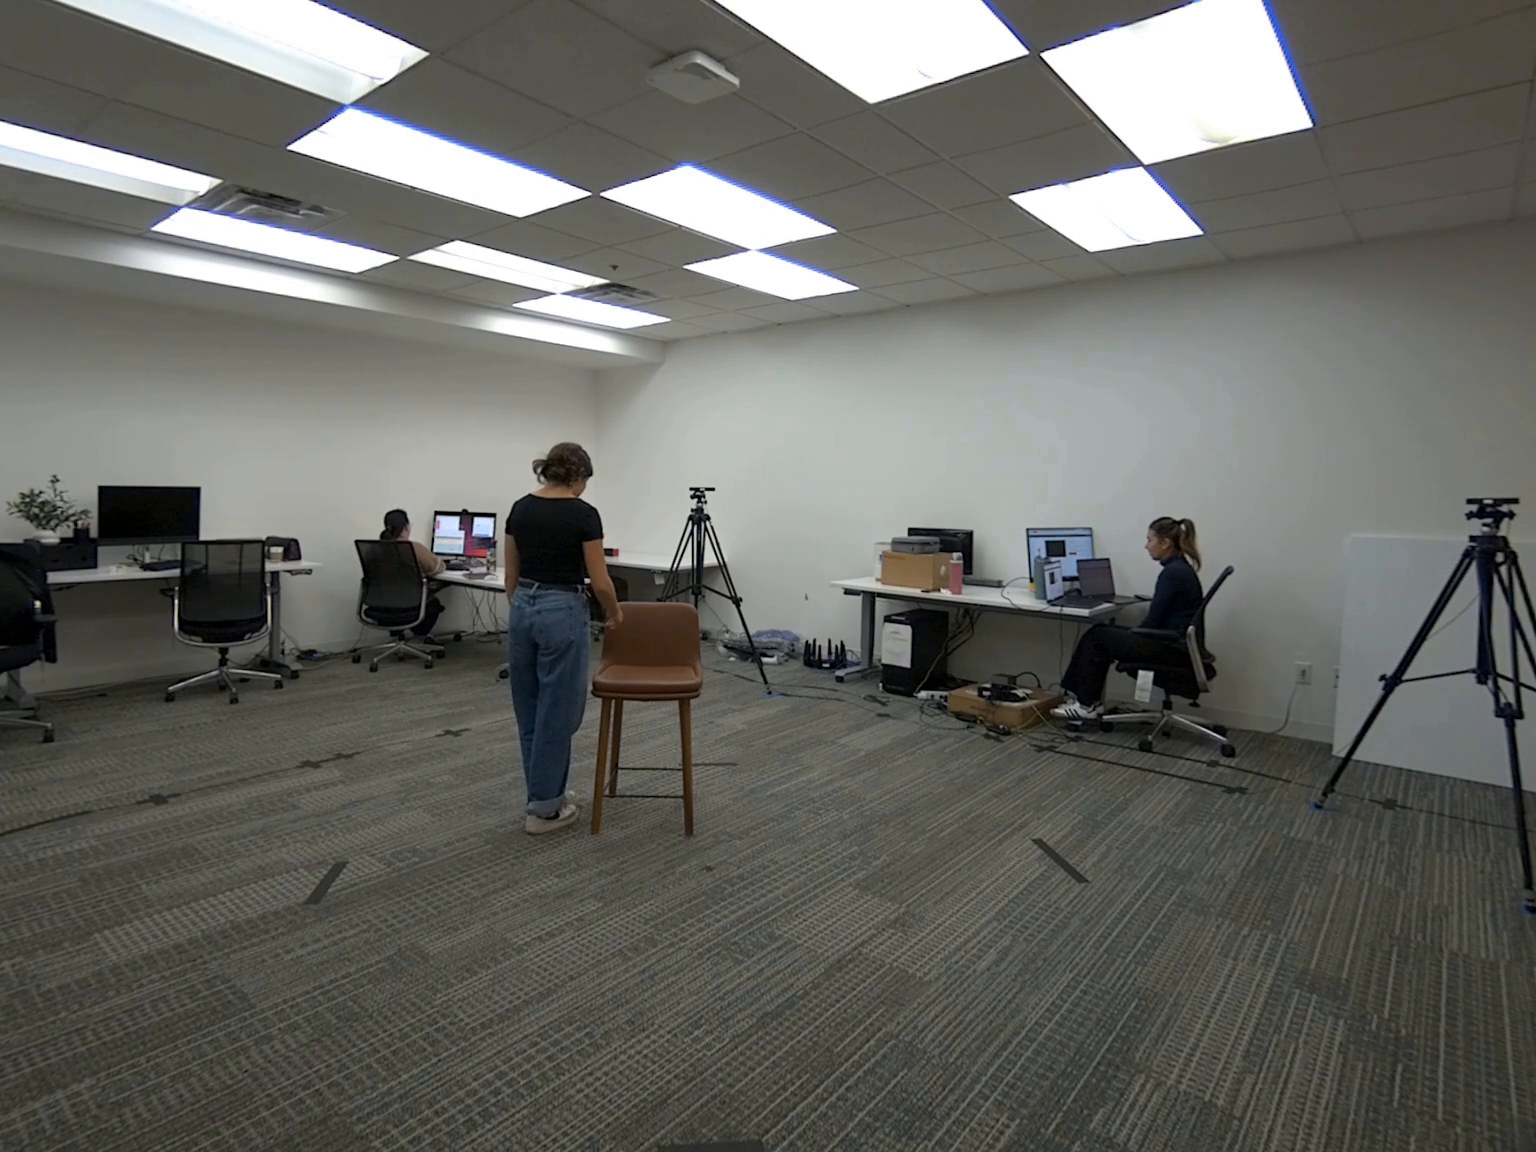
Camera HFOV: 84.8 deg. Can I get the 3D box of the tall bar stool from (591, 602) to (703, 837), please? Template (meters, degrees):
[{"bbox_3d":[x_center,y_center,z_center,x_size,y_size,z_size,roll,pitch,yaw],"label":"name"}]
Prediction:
[{"bbox_3d":[-0.520,0.582,3.605,0.456,0.888,0.469,0,2,-2],"label":"tall bar stool"}]
